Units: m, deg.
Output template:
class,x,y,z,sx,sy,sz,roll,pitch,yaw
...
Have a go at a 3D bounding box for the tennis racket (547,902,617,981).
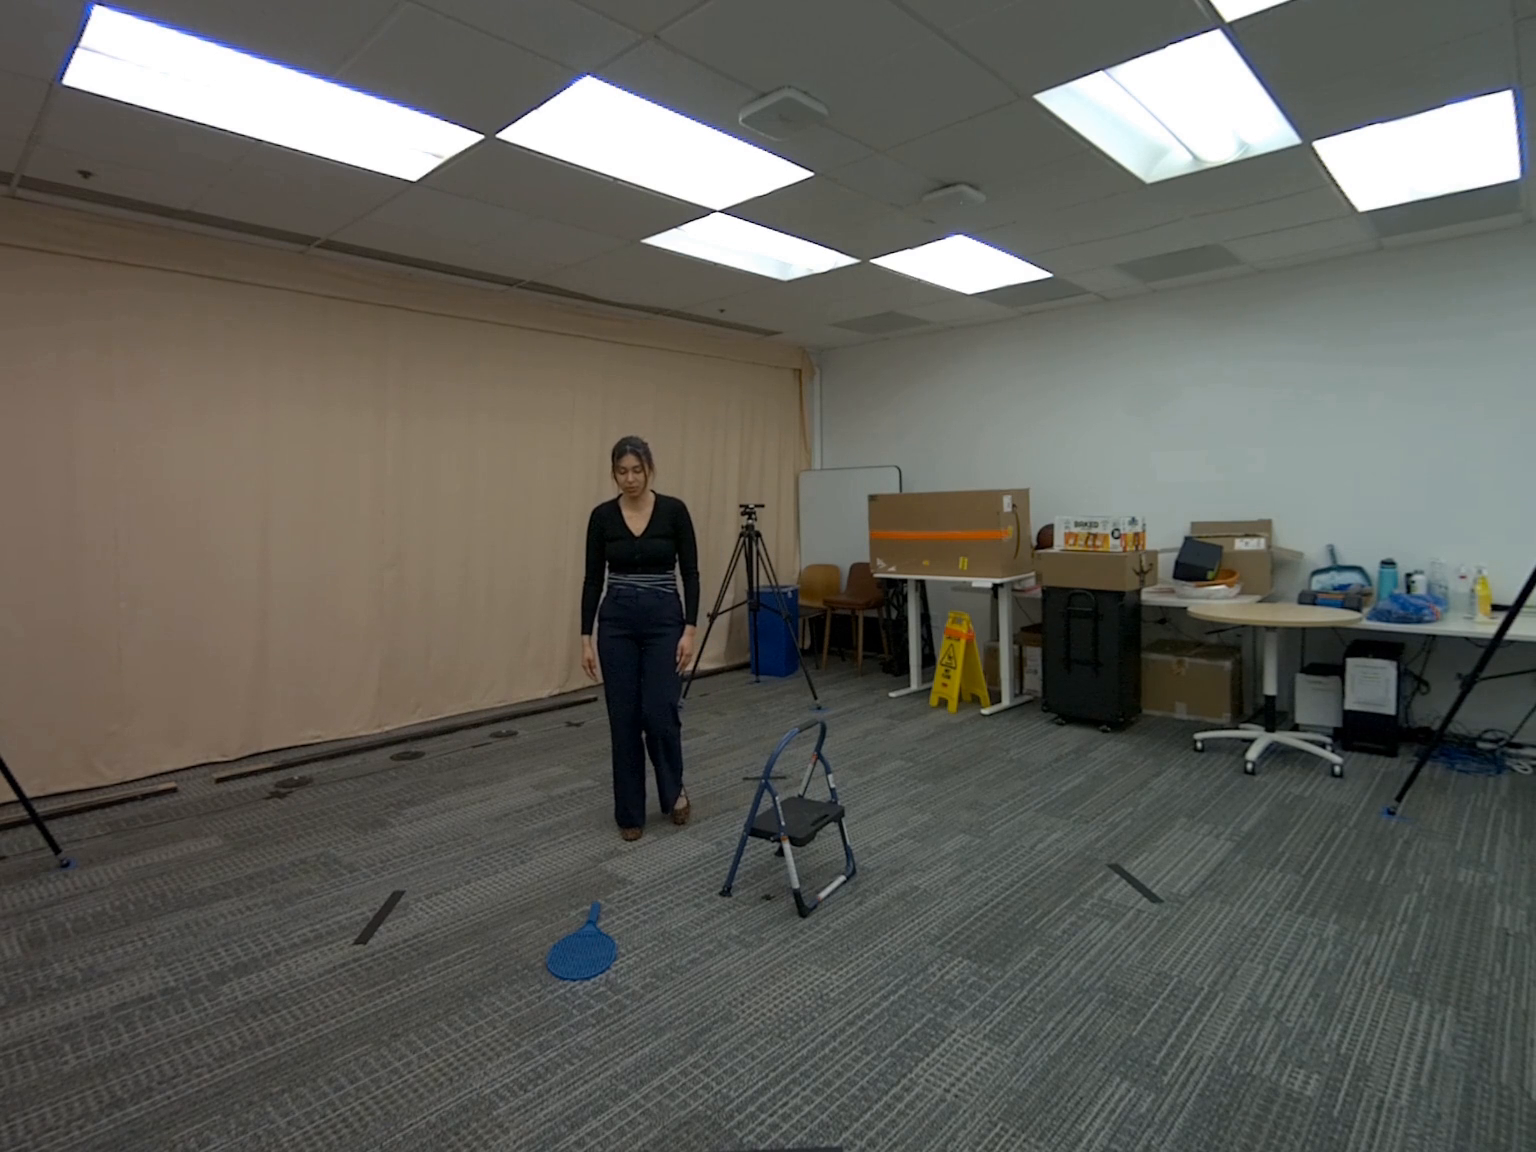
class,x,y,z,sx,sy,sz,roll,pitch,yaw
tennis racket,-0.574,1.156,2.695,0.214,0.031,0.434,-1,7,0
